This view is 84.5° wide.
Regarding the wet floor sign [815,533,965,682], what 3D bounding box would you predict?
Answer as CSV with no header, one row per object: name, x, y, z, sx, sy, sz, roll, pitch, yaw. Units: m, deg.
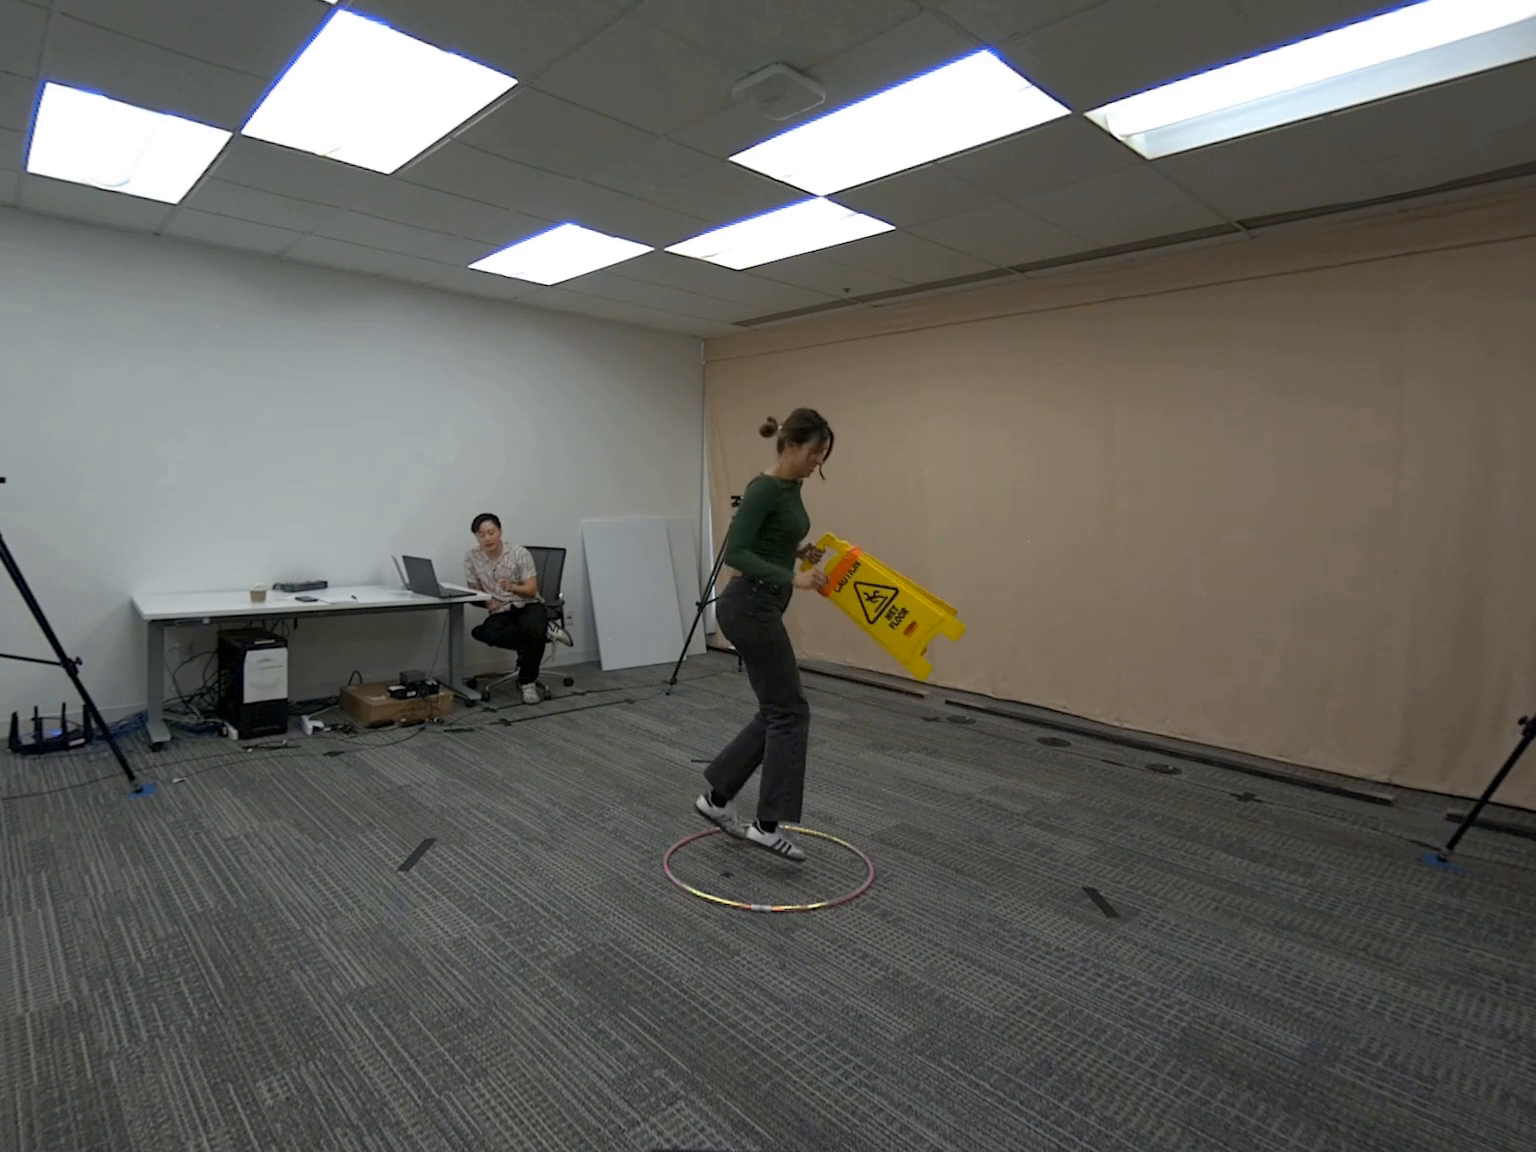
wet floor sign,0.394,0.120,3.390,0.648,0.282,0.289,37,11,2
